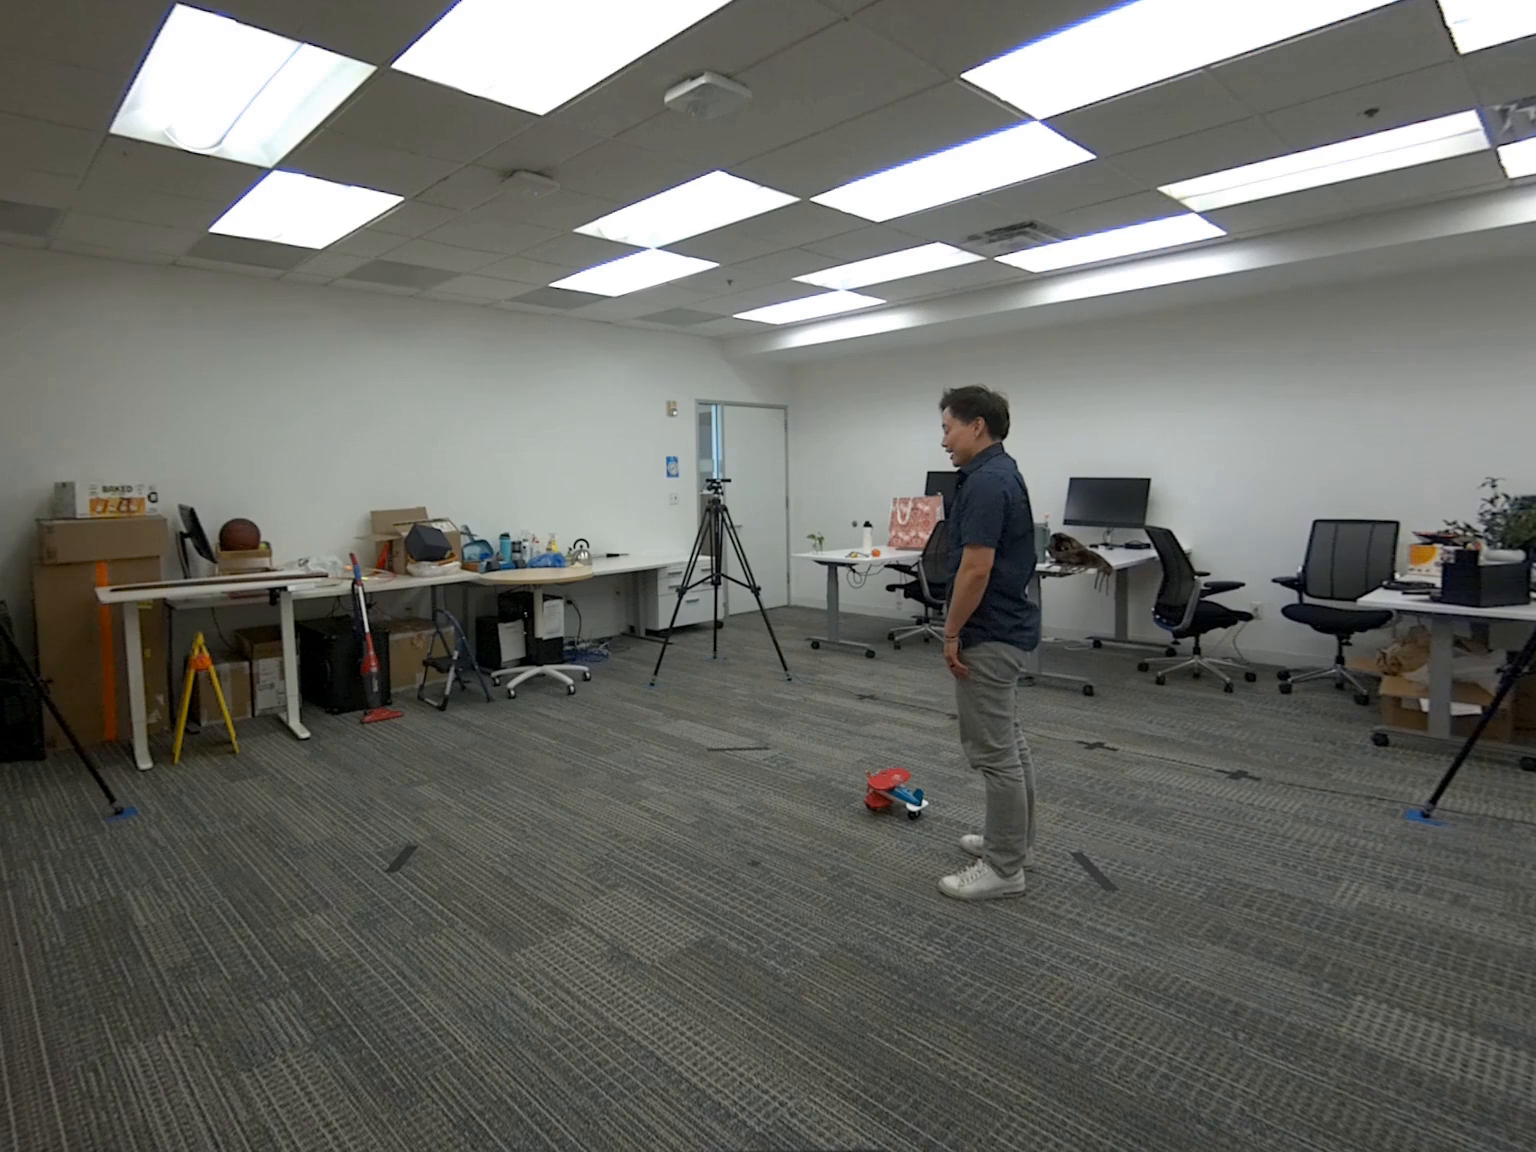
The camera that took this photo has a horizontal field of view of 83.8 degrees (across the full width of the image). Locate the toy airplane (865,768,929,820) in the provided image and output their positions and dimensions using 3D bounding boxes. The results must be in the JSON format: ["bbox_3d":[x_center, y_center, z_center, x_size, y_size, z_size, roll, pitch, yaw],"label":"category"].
[{"bbox_3d":[0.537,0.907,3.571,0.263,0.156,0.248,0,4,16],"label":"toy airplane"}]
